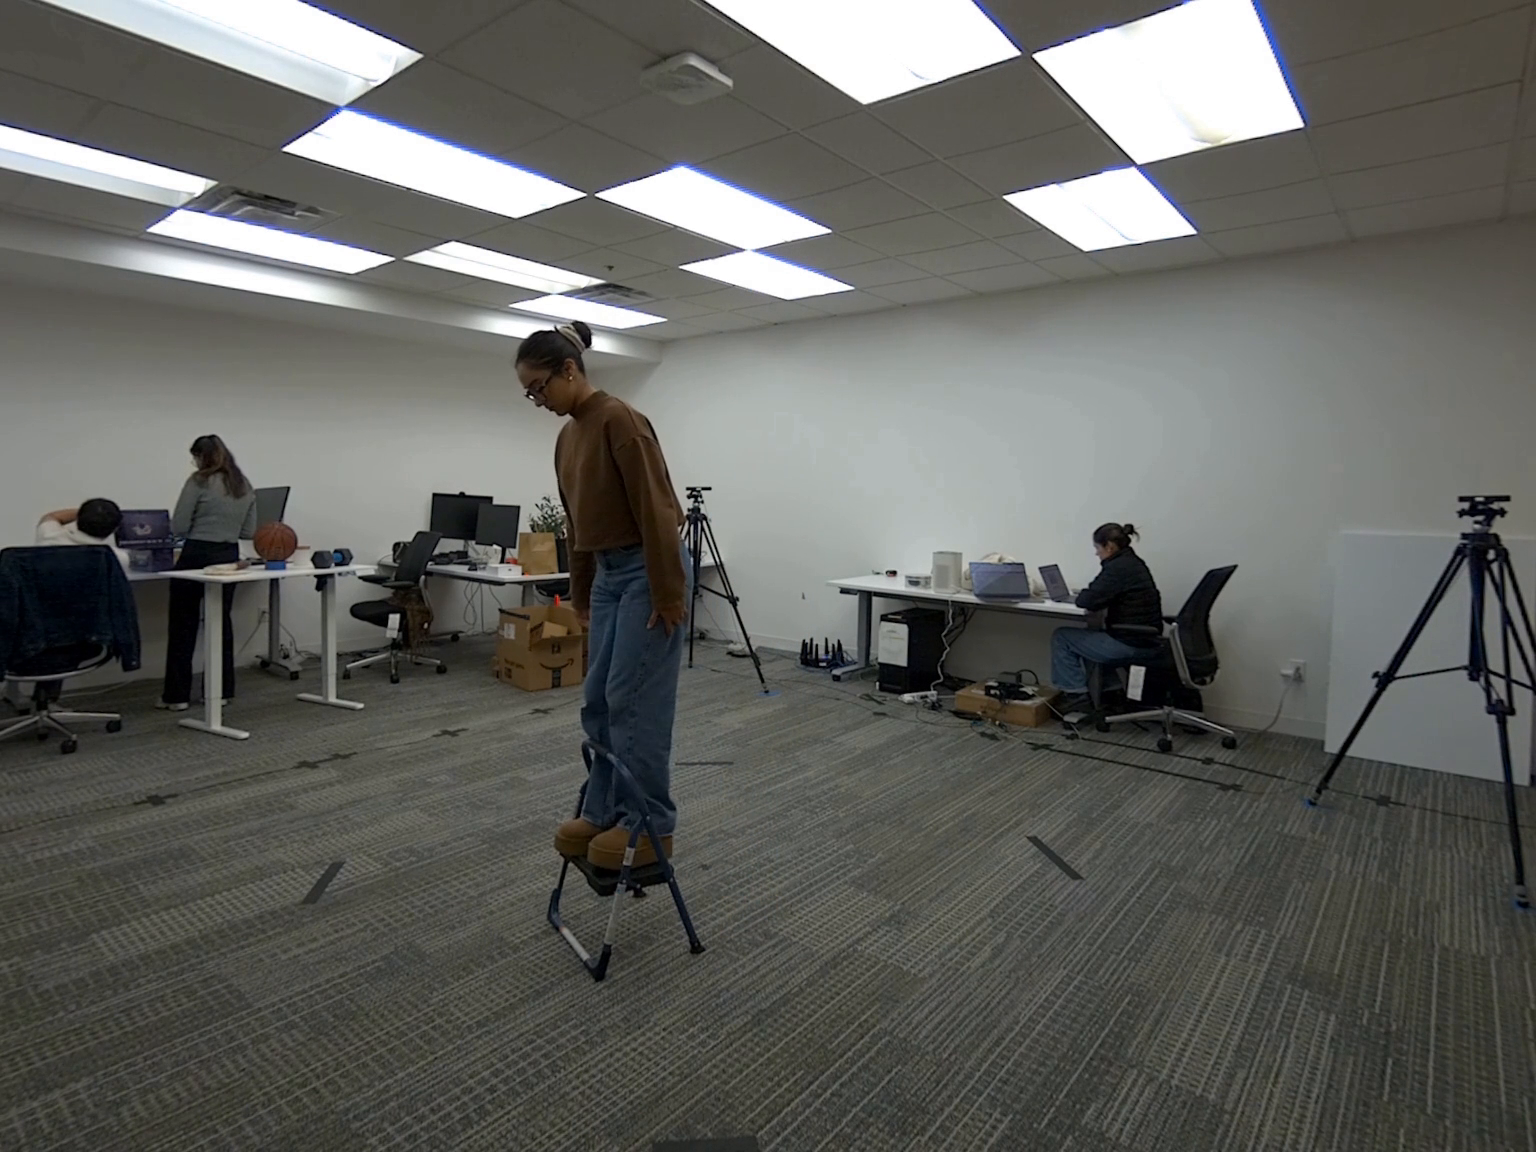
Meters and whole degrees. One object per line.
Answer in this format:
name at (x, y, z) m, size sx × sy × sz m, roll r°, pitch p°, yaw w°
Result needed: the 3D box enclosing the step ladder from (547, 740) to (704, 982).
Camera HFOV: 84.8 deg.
step ladder at (-0.460, 0.810, 2.621) m, size 0.339 × 0.604 × 0.444 m, roll -2°, pitch 5°, yaw -34°
